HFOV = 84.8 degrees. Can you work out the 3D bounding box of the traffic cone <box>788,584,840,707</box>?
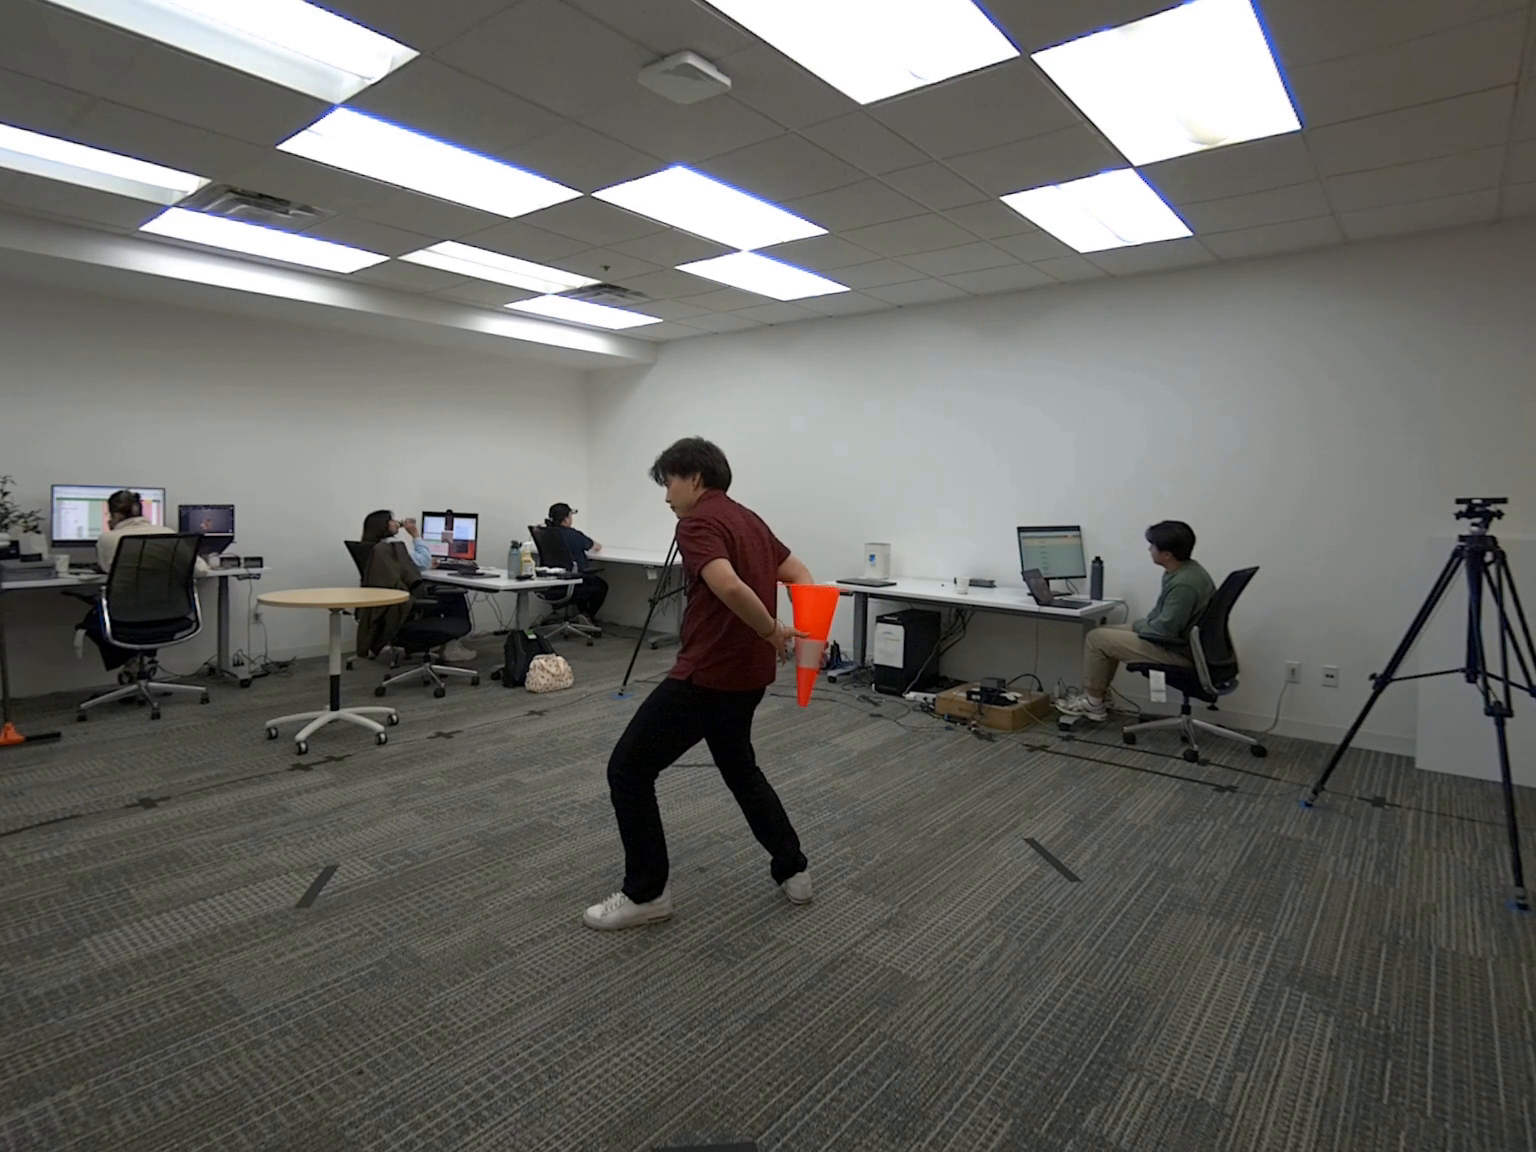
[{"bbox_3d":[0.130,0.232,2.726,0.211,0.385,0.196,2,-6,31],"label":"traffic cone"}]
